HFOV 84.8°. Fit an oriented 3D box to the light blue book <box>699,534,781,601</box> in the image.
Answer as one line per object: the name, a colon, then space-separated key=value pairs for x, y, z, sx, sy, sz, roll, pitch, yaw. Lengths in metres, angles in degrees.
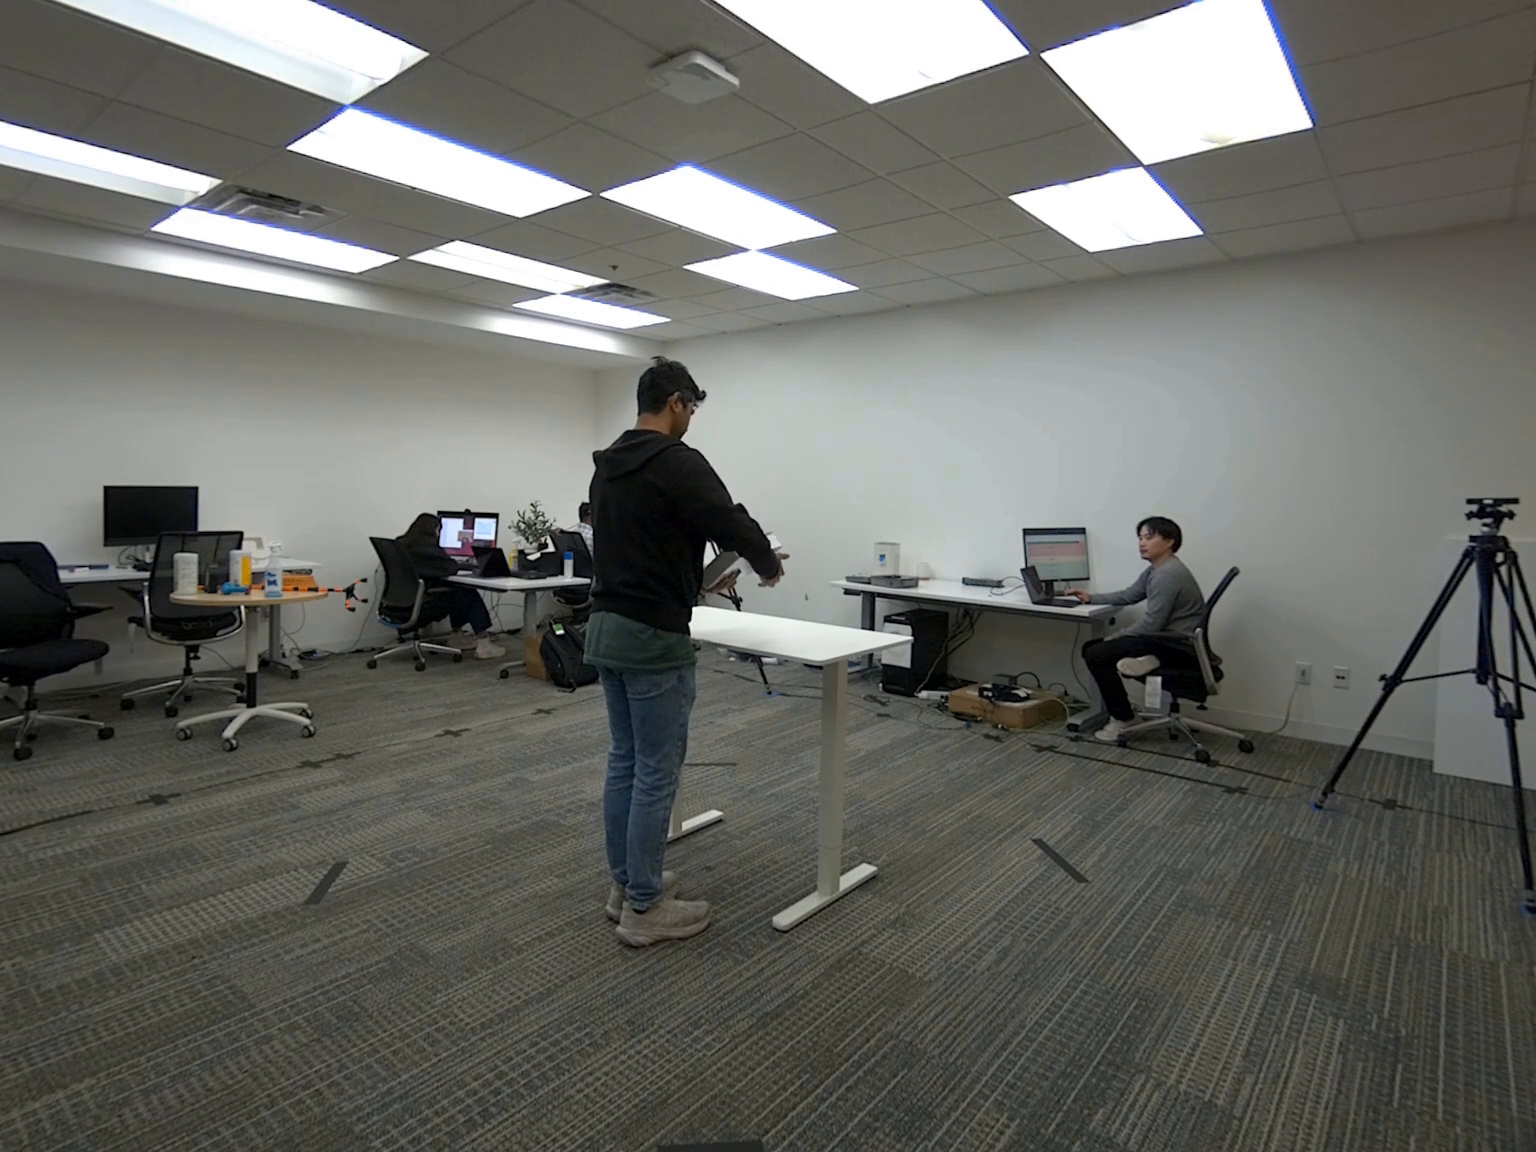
light blue book: x=-0.102 y=-0.048 z=2.858 sx=0.192 sy=0.060 sz=0.255 roll=-43 pitch=-13 yaw=34
